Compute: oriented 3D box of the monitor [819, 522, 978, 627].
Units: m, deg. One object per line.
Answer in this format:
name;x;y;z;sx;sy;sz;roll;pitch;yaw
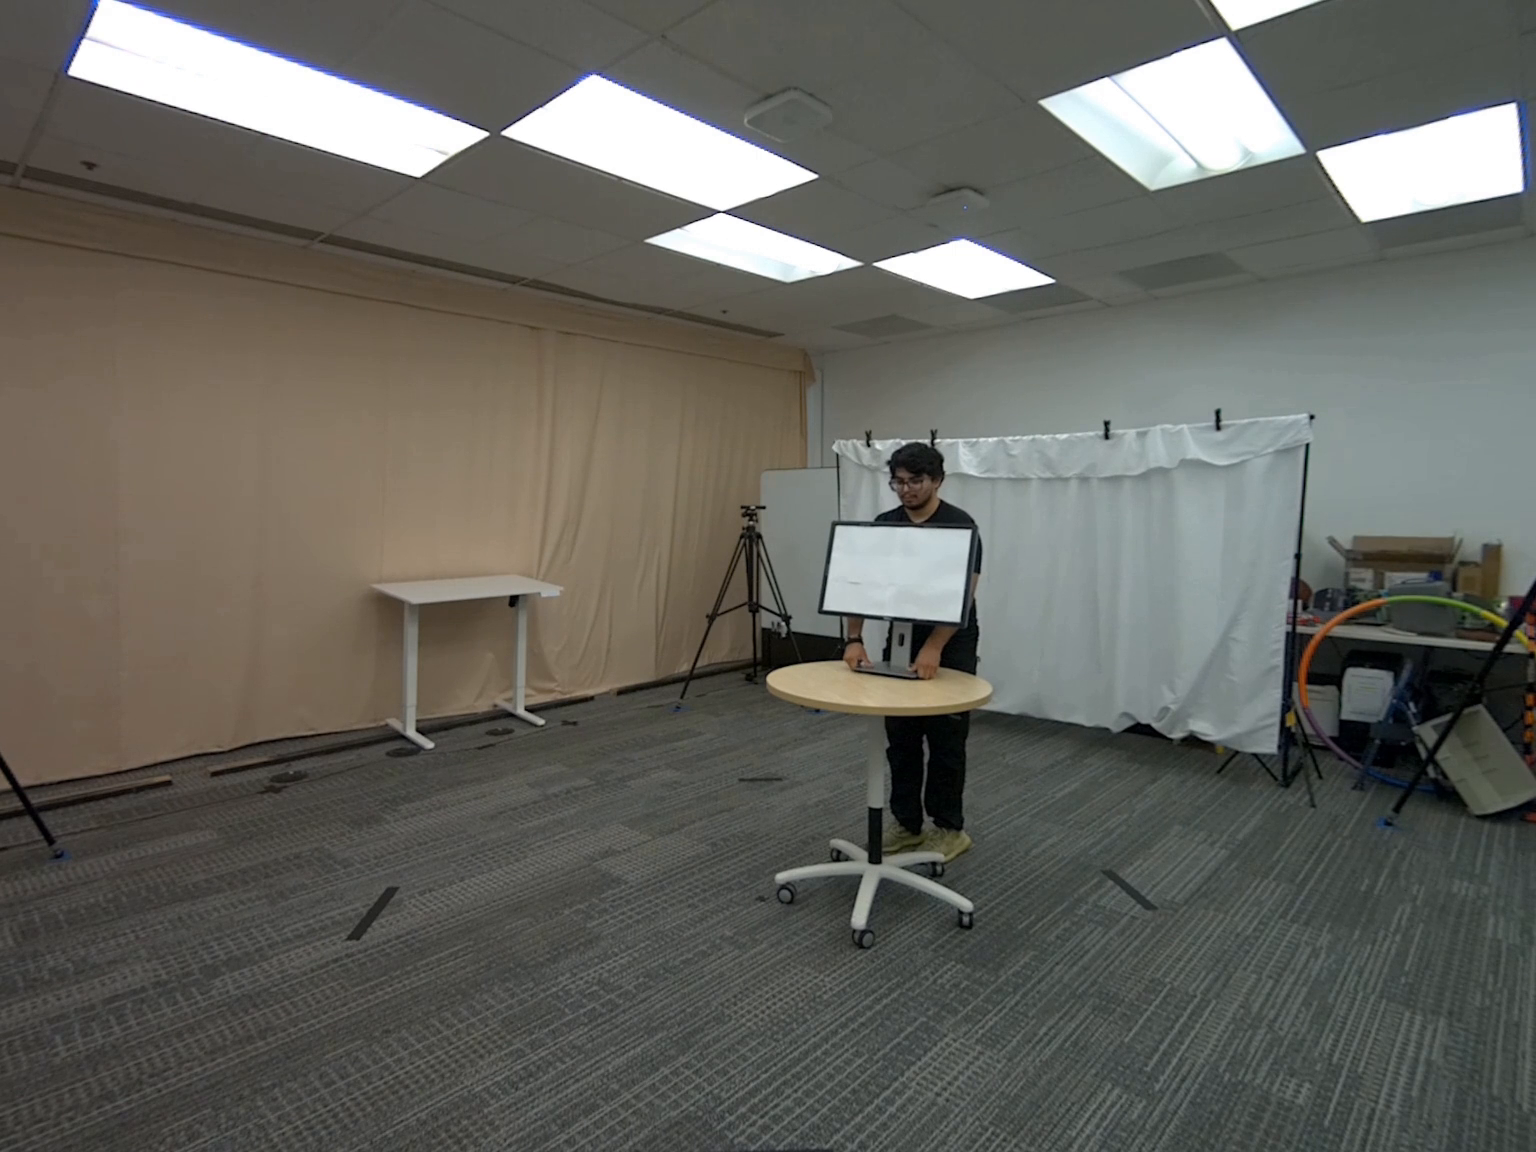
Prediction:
monitor;0.489;0.082;3.090;0.583;0.555;0.203;3;-6;35
